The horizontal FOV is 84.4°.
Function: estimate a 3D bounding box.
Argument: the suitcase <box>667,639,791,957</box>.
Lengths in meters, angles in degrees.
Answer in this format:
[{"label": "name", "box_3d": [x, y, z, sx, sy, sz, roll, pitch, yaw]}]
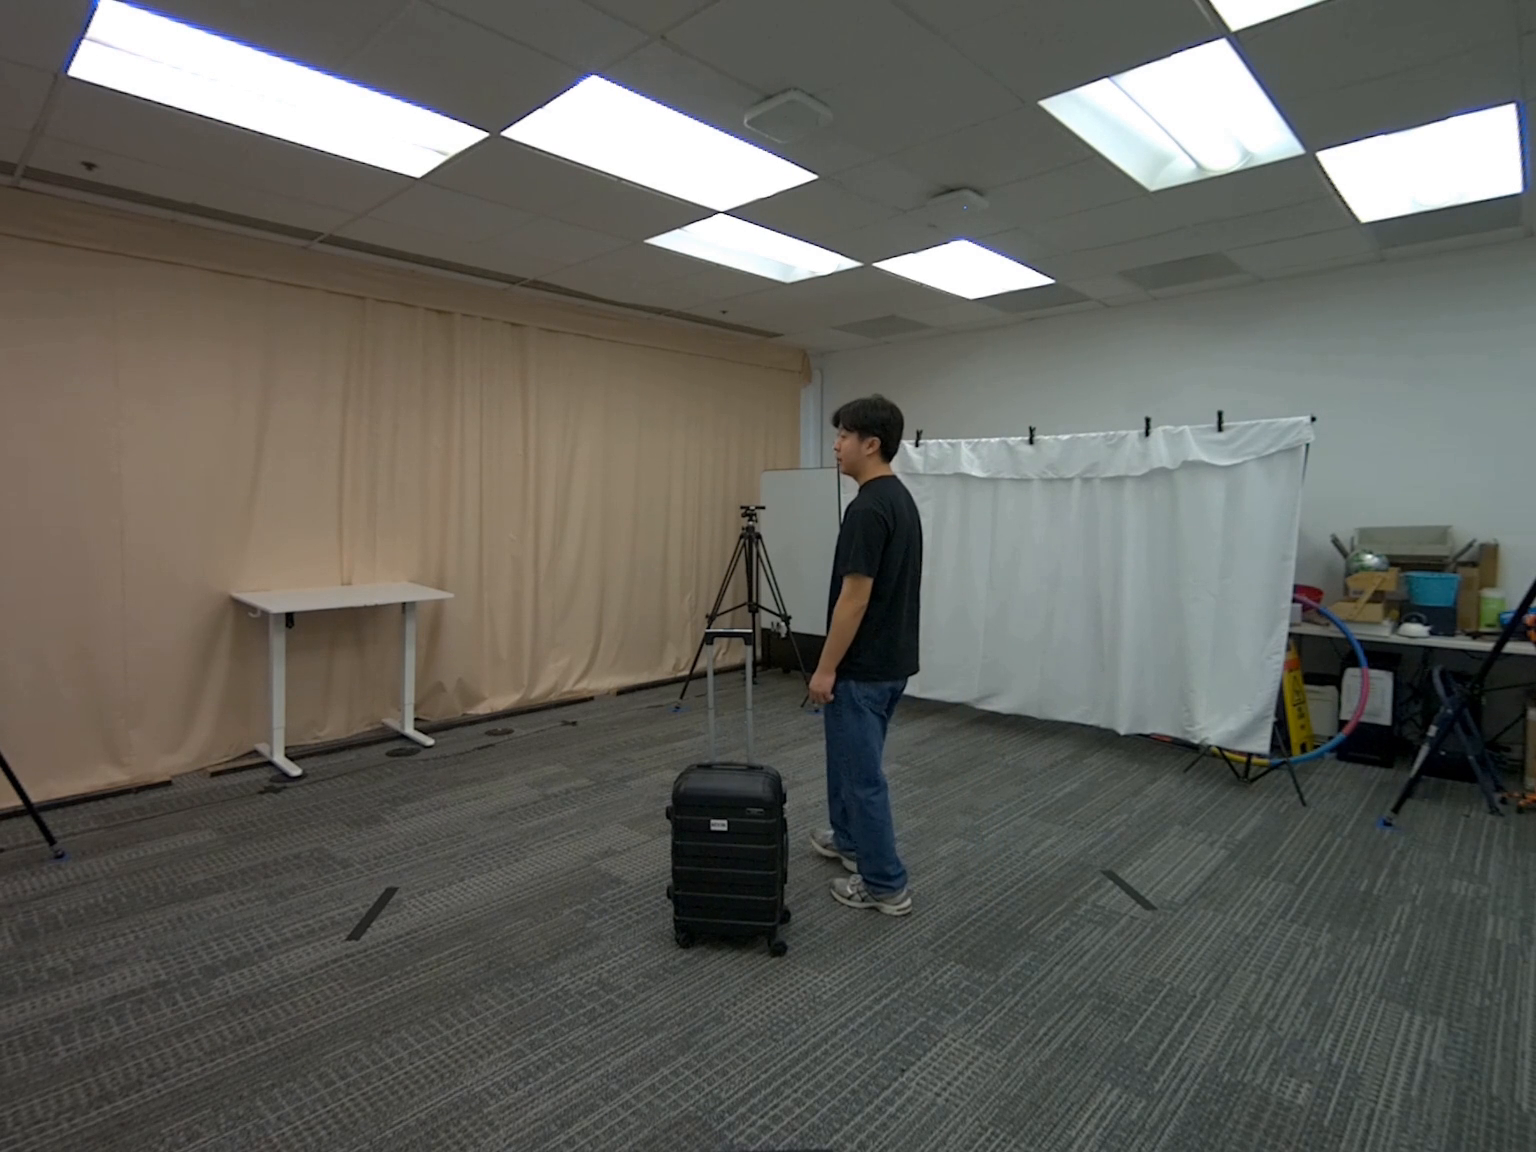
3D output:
[{"label": "suitcase", "box_3d": [-0.129, 0.693, 2.693, 0.387, 0.975, 0.256, -1, 4, 6]}]
